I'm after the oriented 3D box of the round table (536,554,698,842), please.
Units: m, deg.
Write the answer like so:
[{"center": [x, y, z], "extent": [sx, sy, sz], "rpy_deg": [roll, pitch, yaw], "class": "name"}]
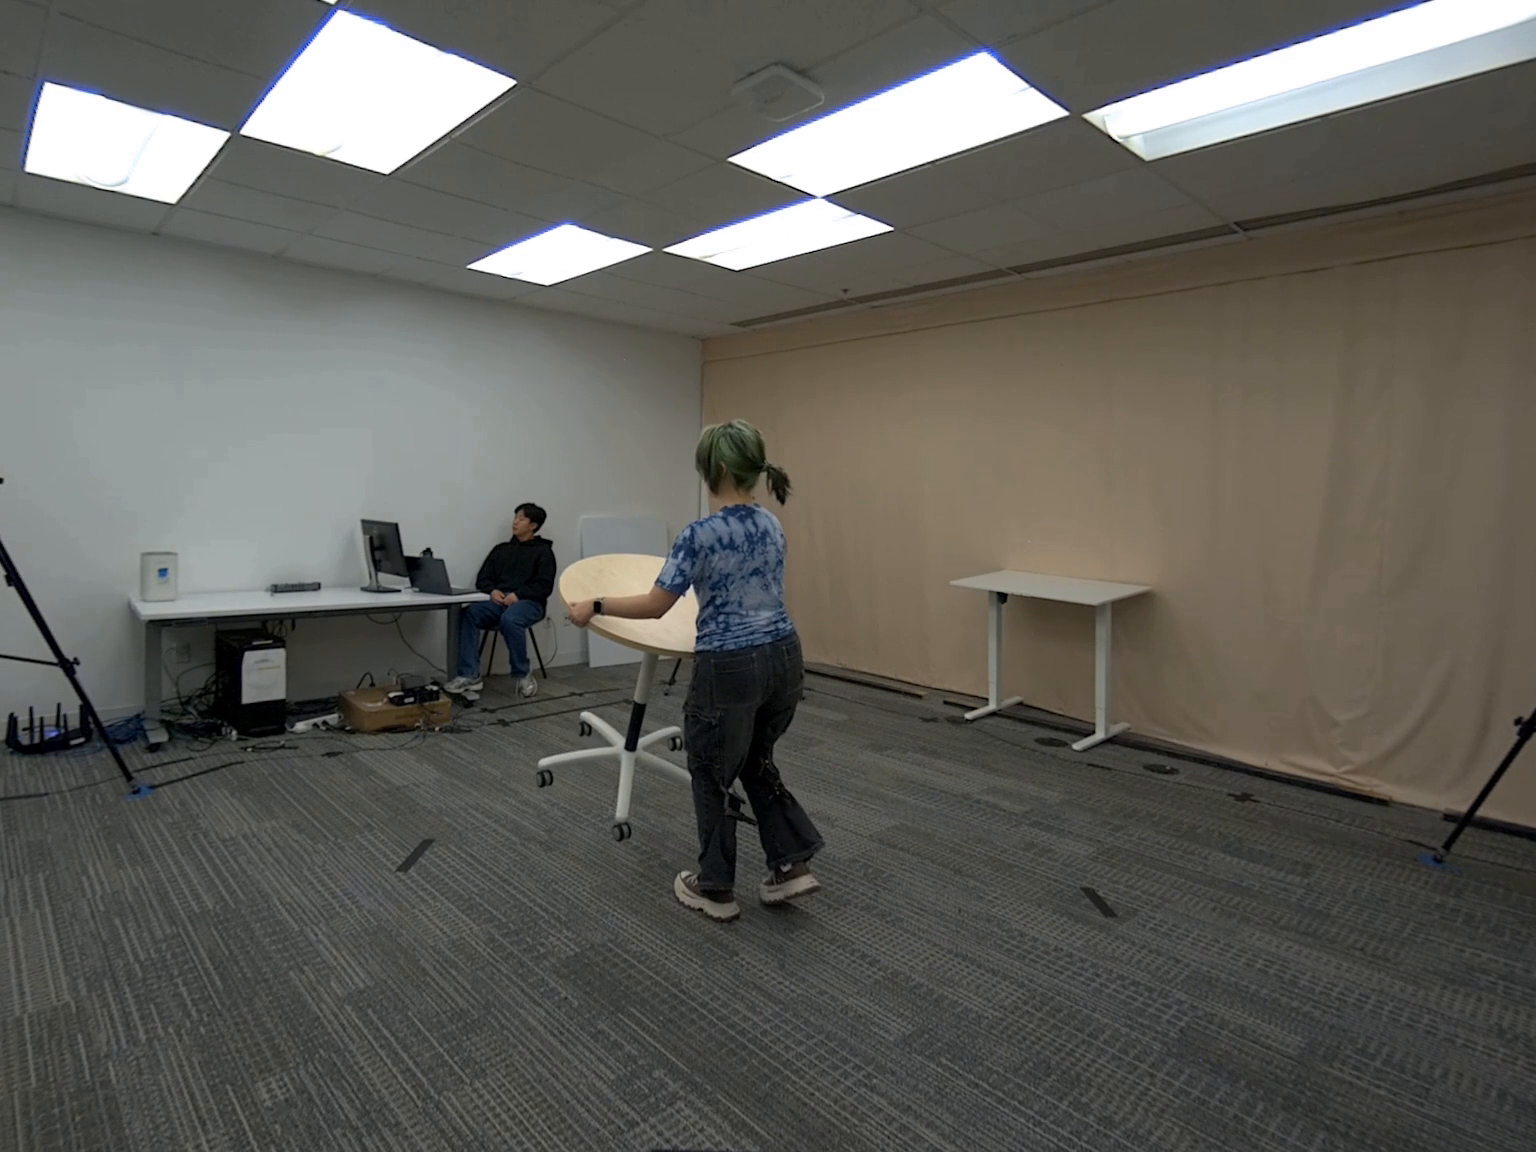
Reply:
[{"center": [-0.486, 0.445, 3.214], "extent": [0.760, 0.786, 0.776], "rpy_deg": [12, 21, -6], "class": "round table"}]
